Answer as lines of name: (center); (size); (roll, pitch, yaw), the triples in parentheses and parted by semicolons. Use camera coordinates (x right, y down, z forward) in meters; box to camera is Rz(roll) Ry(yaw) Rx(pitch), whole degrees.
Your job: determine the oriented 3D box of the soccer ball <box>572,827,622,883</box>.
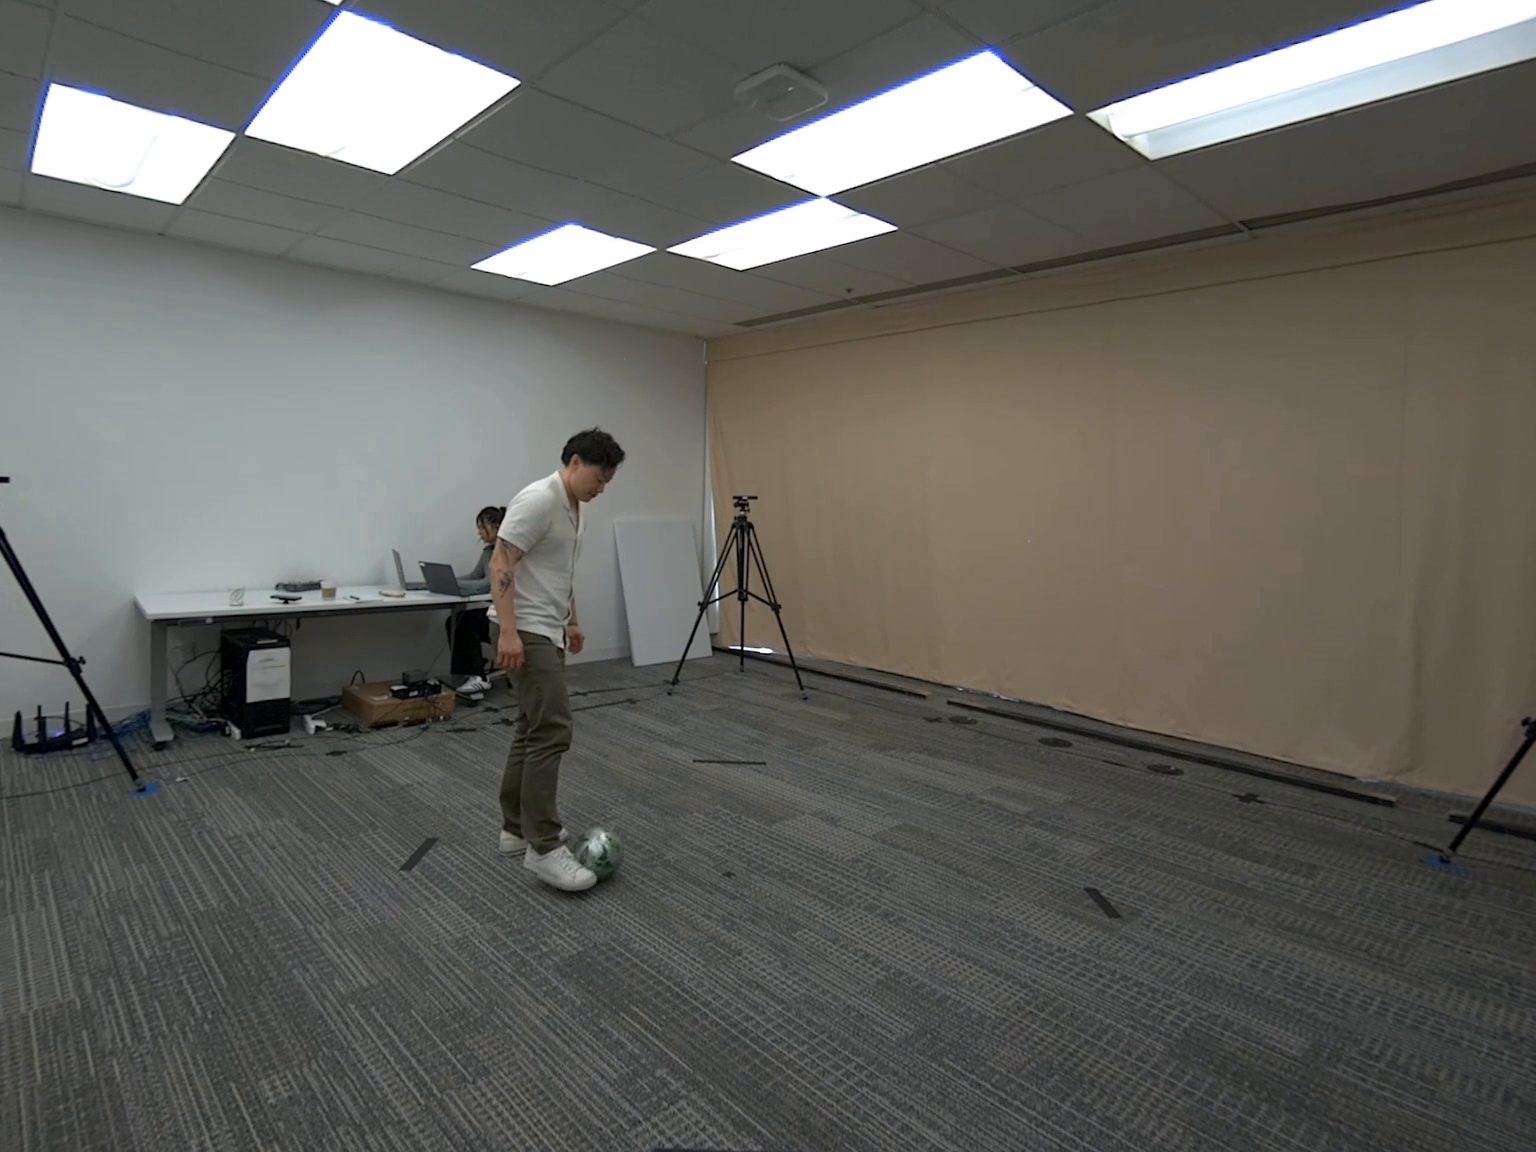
soccer ball: (-0.623, 1.001, 3.045); (0.187, 0.187, 0.188); (1, 4, -1)
